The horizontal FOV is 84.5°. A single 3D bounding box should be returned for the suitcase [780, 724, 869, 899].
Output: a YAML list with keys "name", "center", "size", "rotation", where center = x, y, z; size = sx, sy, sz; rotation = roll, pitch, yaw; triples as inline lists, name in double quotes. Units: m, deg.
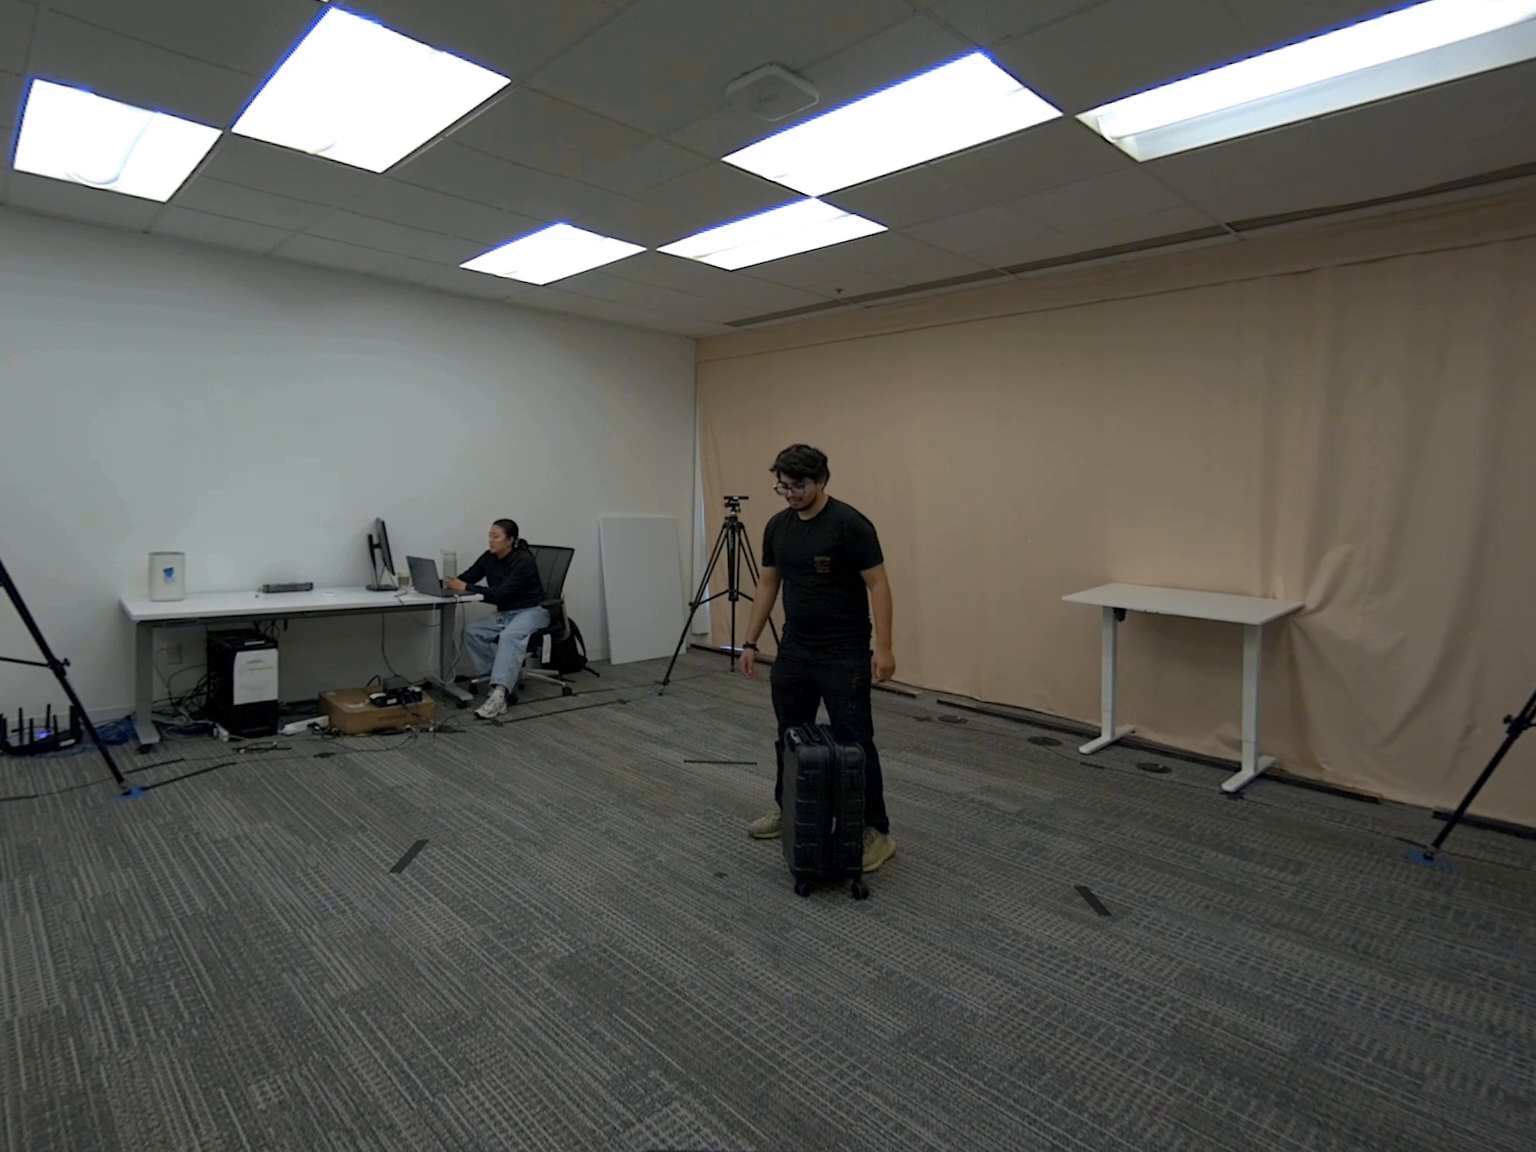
- name: "suitcase"
  center: [0.190, 0.835, 3.088]
  size: [0.247, 0.548, 0.378]
  rotation: [1, 4, -8]
